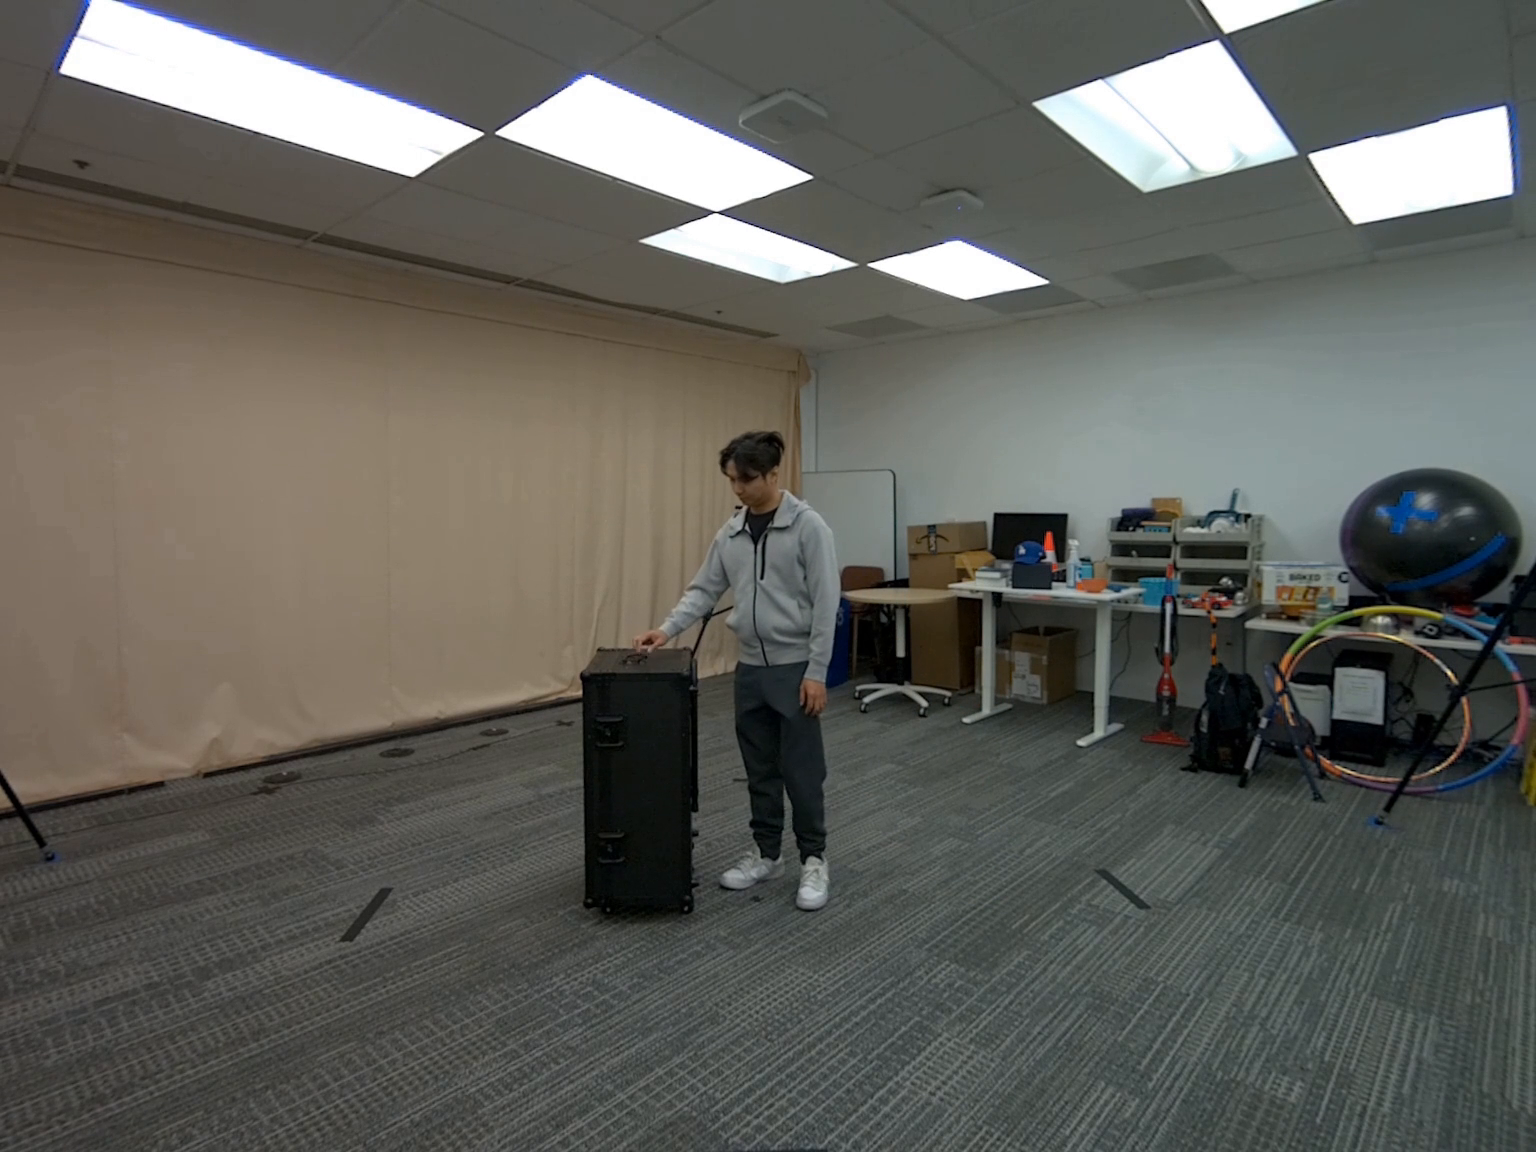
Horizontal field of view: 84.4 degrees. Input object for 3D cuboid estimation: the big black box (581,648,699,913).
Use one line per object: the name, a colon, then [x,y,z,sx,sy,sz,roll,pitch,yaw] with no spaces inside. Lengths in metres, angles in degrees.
big black box: [-0.441,0.729,3.005,0.395,0.860,0.523,0,2,-4]
